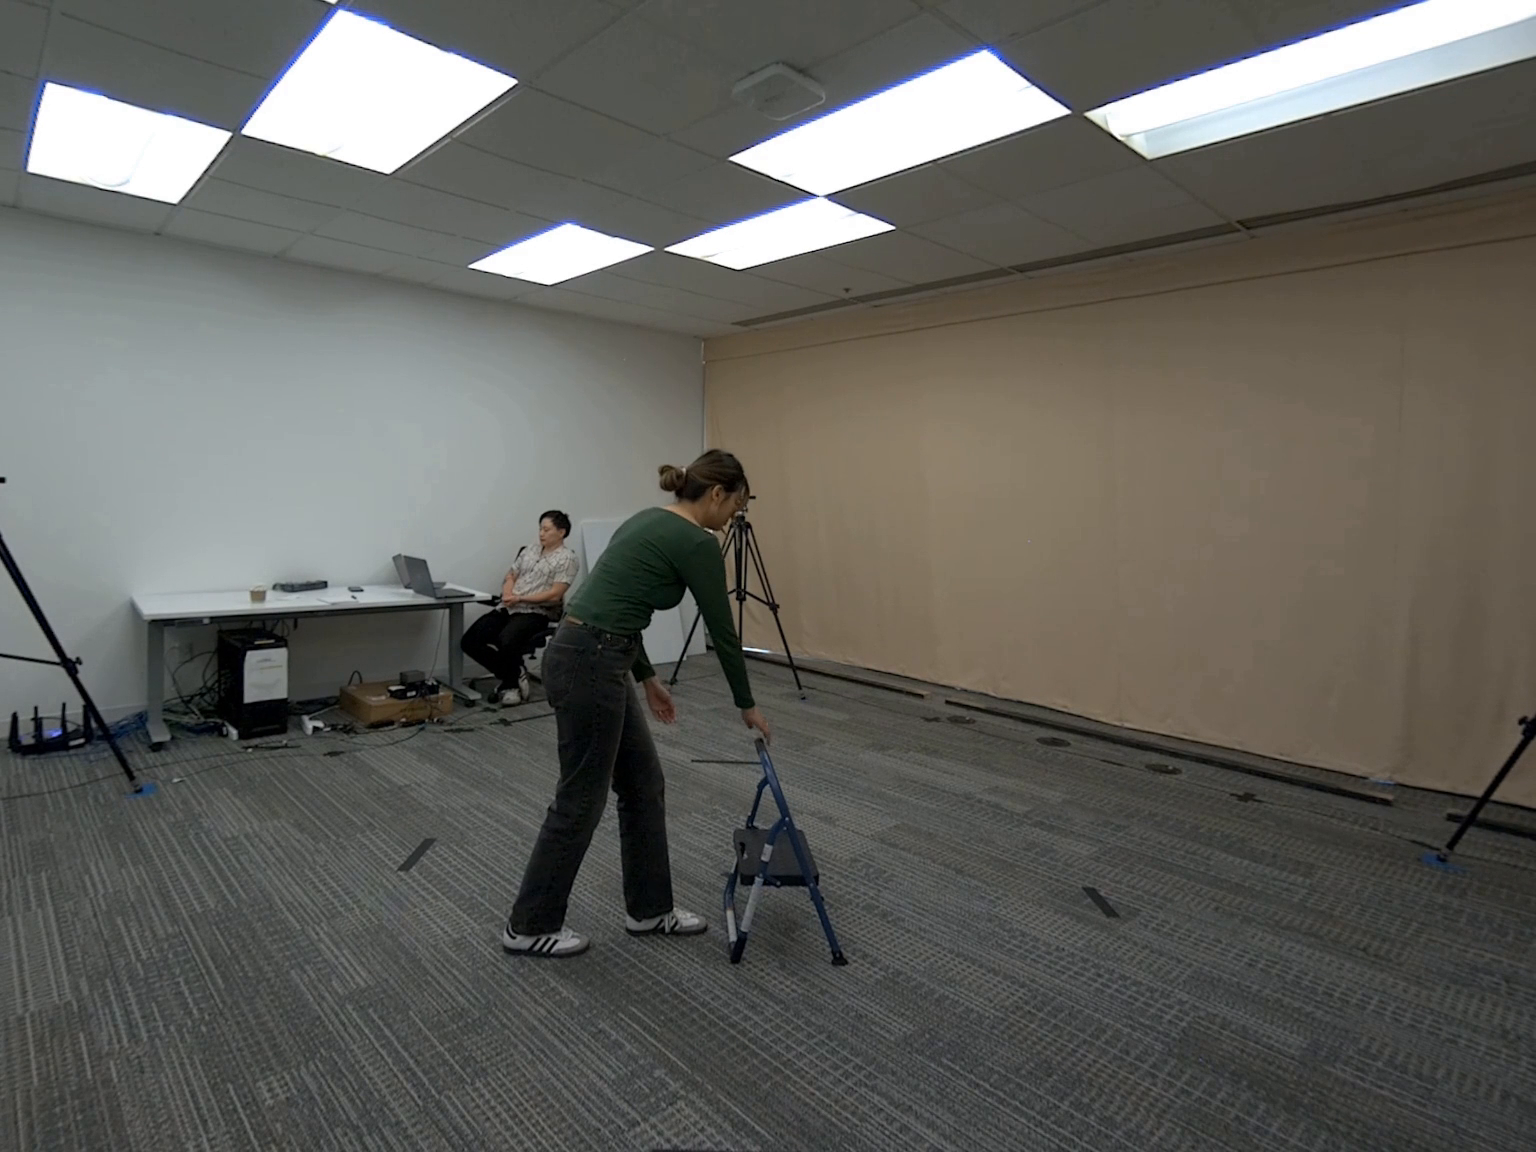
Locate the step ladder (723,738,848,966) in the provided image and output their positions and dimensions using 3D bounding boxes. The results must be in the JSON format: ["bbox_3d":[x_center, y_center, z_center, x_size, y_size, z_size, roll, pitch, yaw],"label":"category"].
[{"bbox_3d":[0.034,0.843,2.701,0.348,0.604,0.433,1,4,-6],"label":"step ladder"}]
